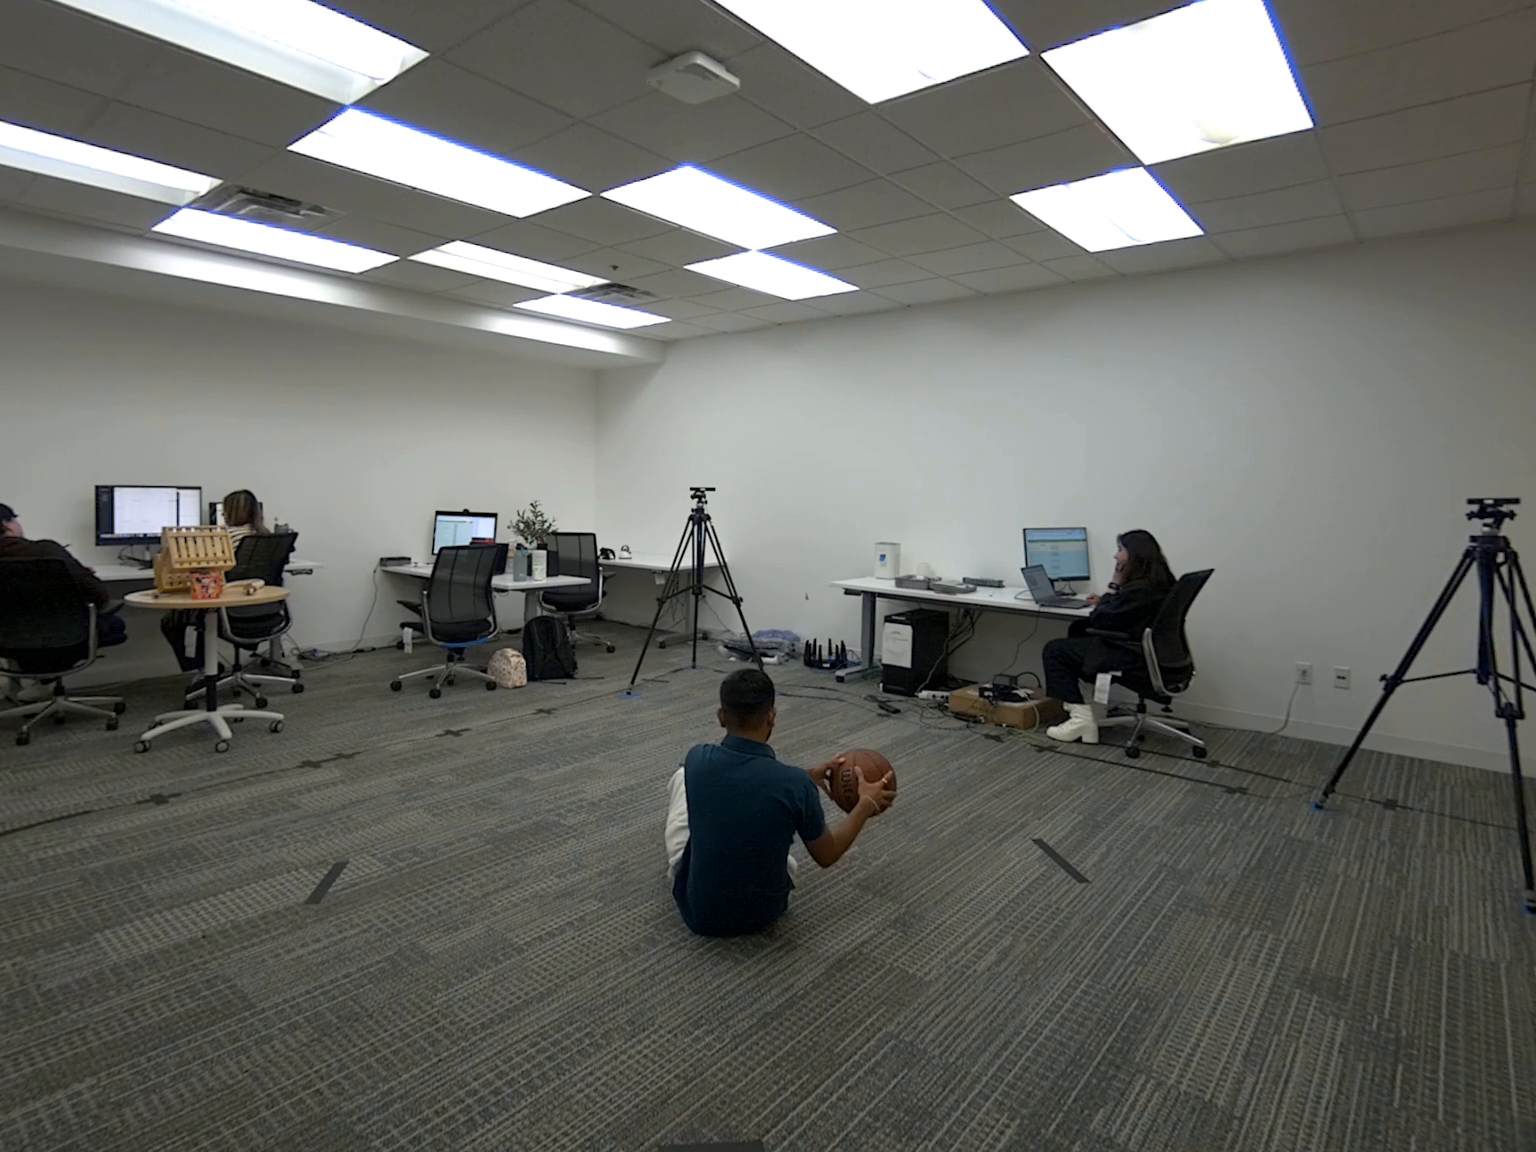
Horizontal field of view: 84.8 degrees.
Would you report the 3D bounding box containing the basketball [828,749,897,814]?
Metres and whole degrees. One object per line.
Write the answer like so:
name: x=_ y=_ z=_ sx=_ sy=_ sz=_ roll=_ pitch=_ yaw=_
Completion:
basketball: x=0.334 y=0.748 z=3.043 sx=0.235 sy=0.235 sz=0.237 roll=1 pitch=4 yaw=-2
